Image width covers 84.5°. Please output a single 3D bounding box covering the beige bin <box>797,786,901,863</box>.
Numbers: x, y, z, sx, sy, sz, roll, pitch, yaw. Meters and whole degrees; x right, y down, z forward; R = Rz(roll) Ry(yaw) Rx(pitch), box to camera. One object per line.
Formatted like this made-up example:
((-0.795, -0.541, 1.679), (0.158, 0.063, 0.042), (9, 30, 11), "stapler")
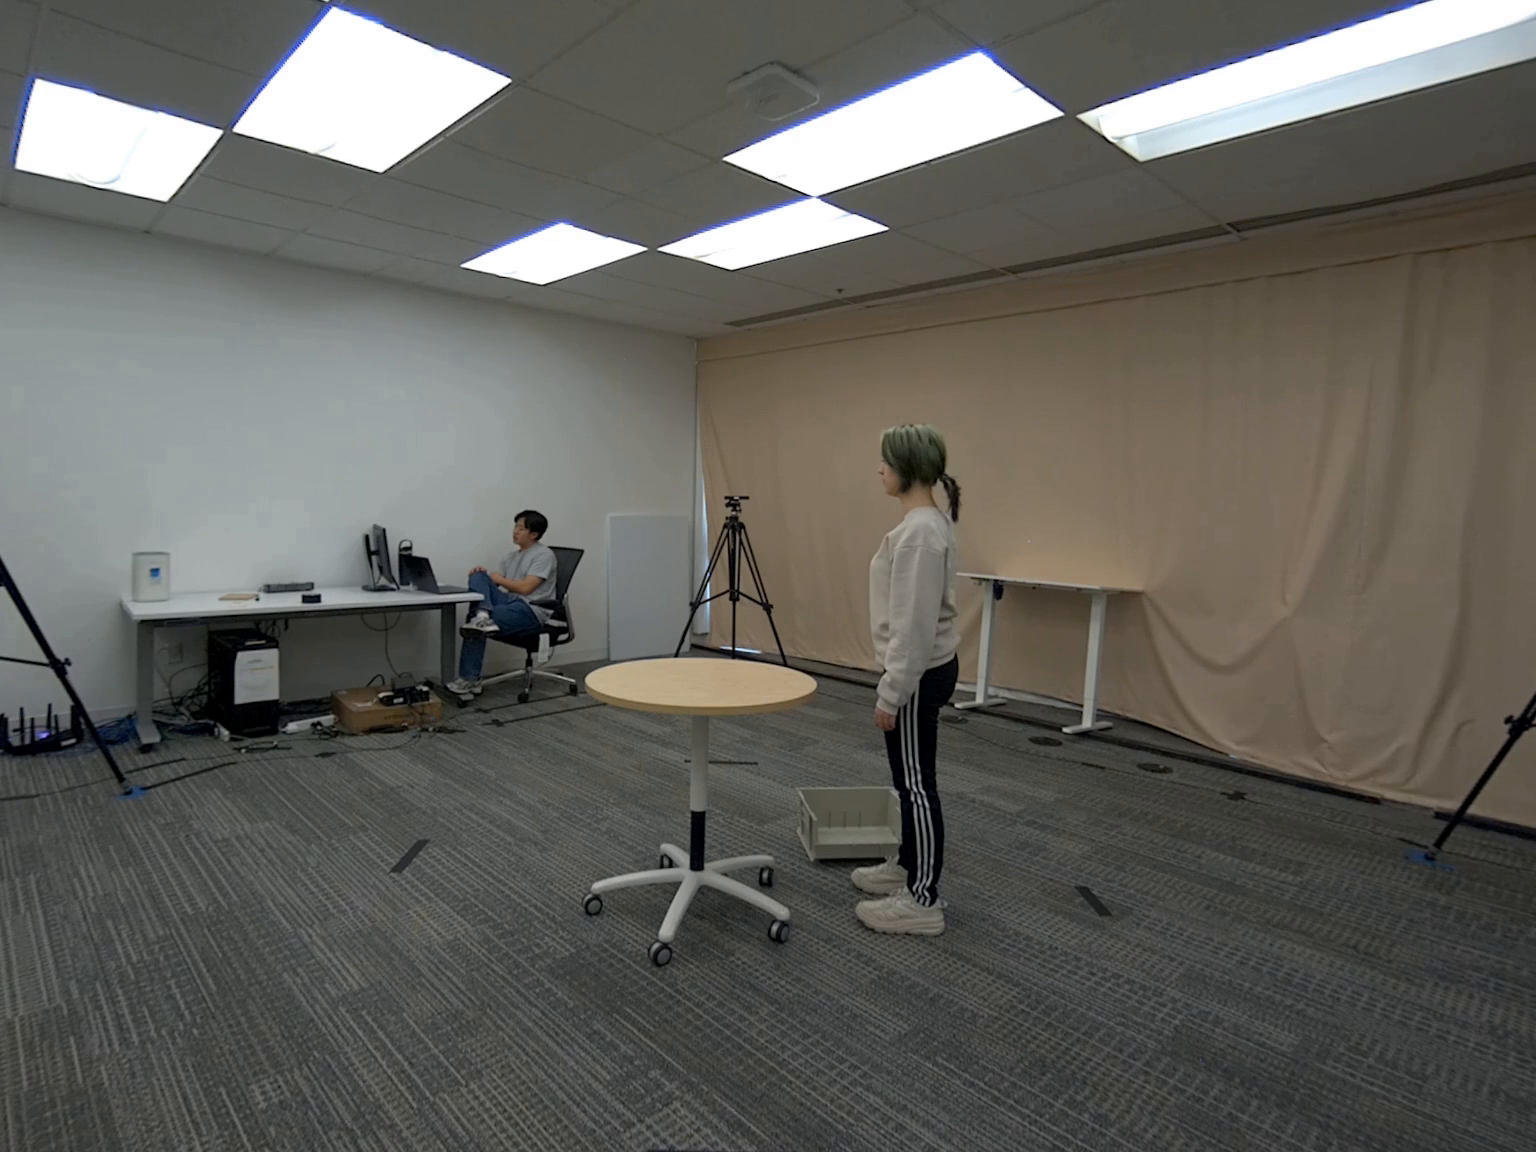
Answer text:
((0.347, 1.004, 3.384), (0.420, 0.188, 0.380), (0, 4, -8), "beige bin")
